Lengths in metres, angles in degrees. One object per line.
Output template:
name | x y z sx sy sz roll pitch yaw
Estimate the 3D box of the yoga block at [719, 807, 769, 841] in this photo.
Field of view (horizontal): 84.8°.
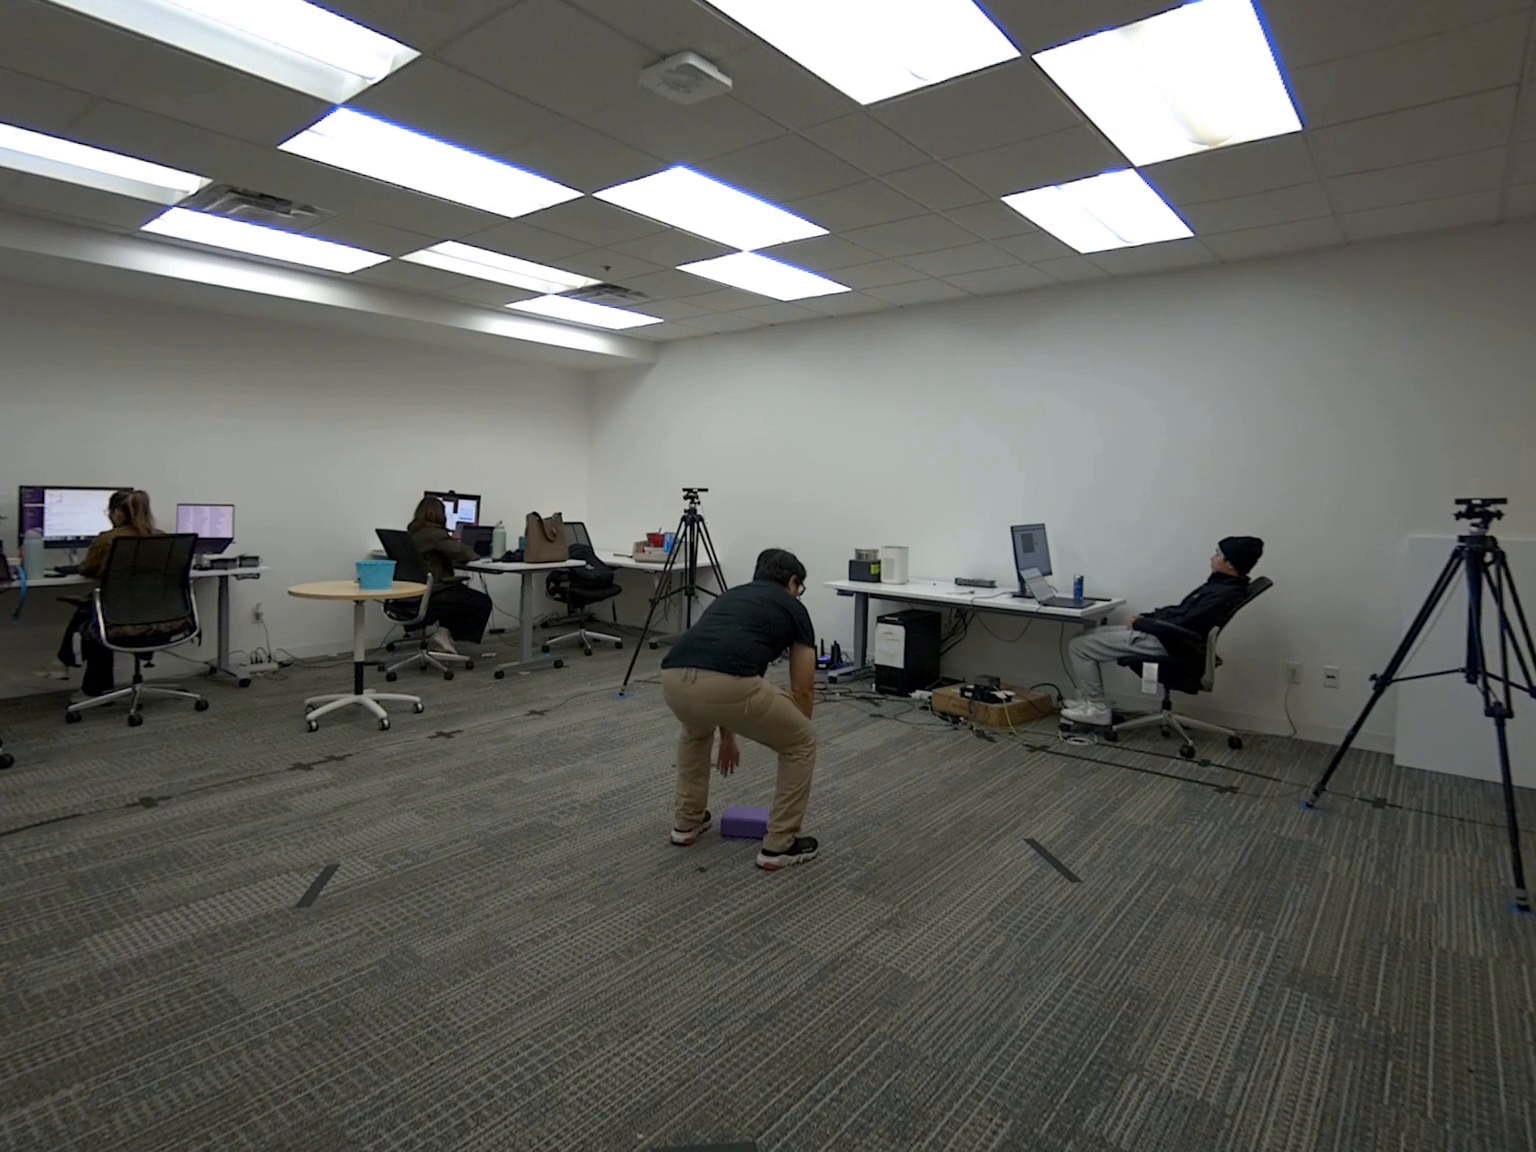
yoga block | -0.083 1.002 3.458 0.231 0.076 0.148 2 6 7
